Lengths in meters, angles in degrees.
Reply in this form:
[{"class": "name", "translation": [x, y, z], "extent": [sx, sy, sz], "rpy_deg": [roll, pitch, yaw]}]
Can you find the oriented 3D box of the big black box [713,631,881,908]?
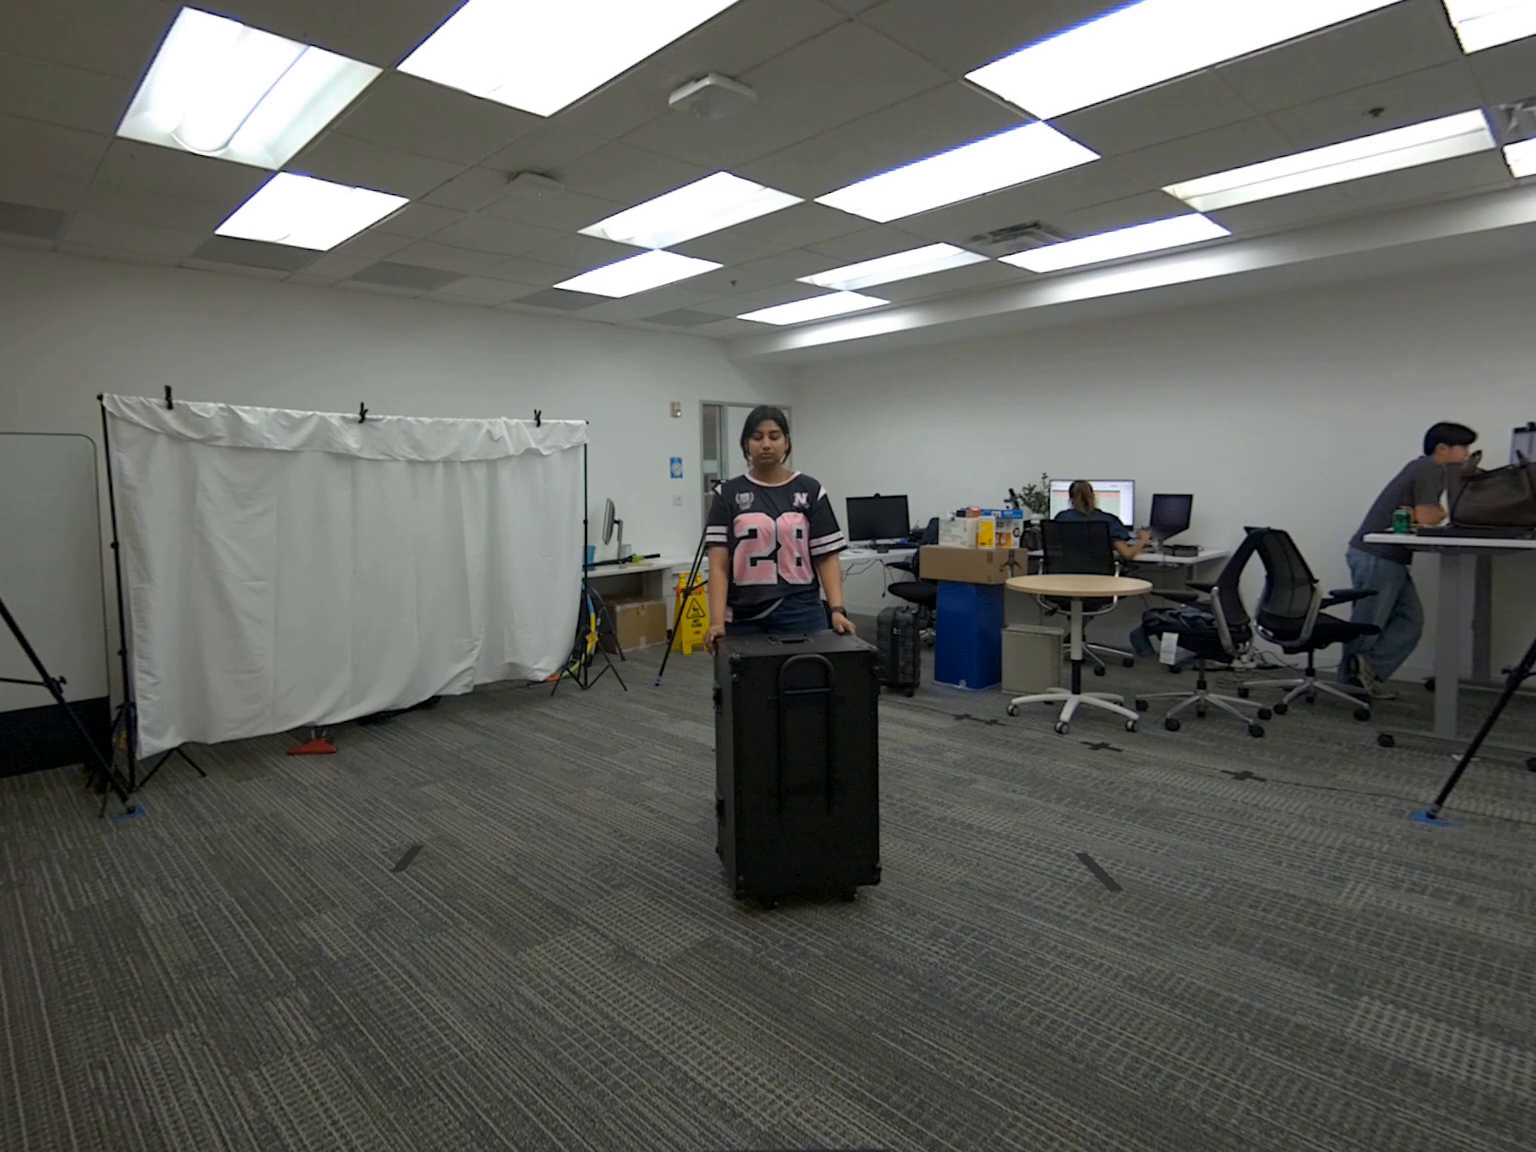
[{"class": "big black box", "translation": [0.094, 0.649, 2.889], "extent": [0.518, 0.865, 0.391], "rpy_deg": [-2, 5, -12]}]
